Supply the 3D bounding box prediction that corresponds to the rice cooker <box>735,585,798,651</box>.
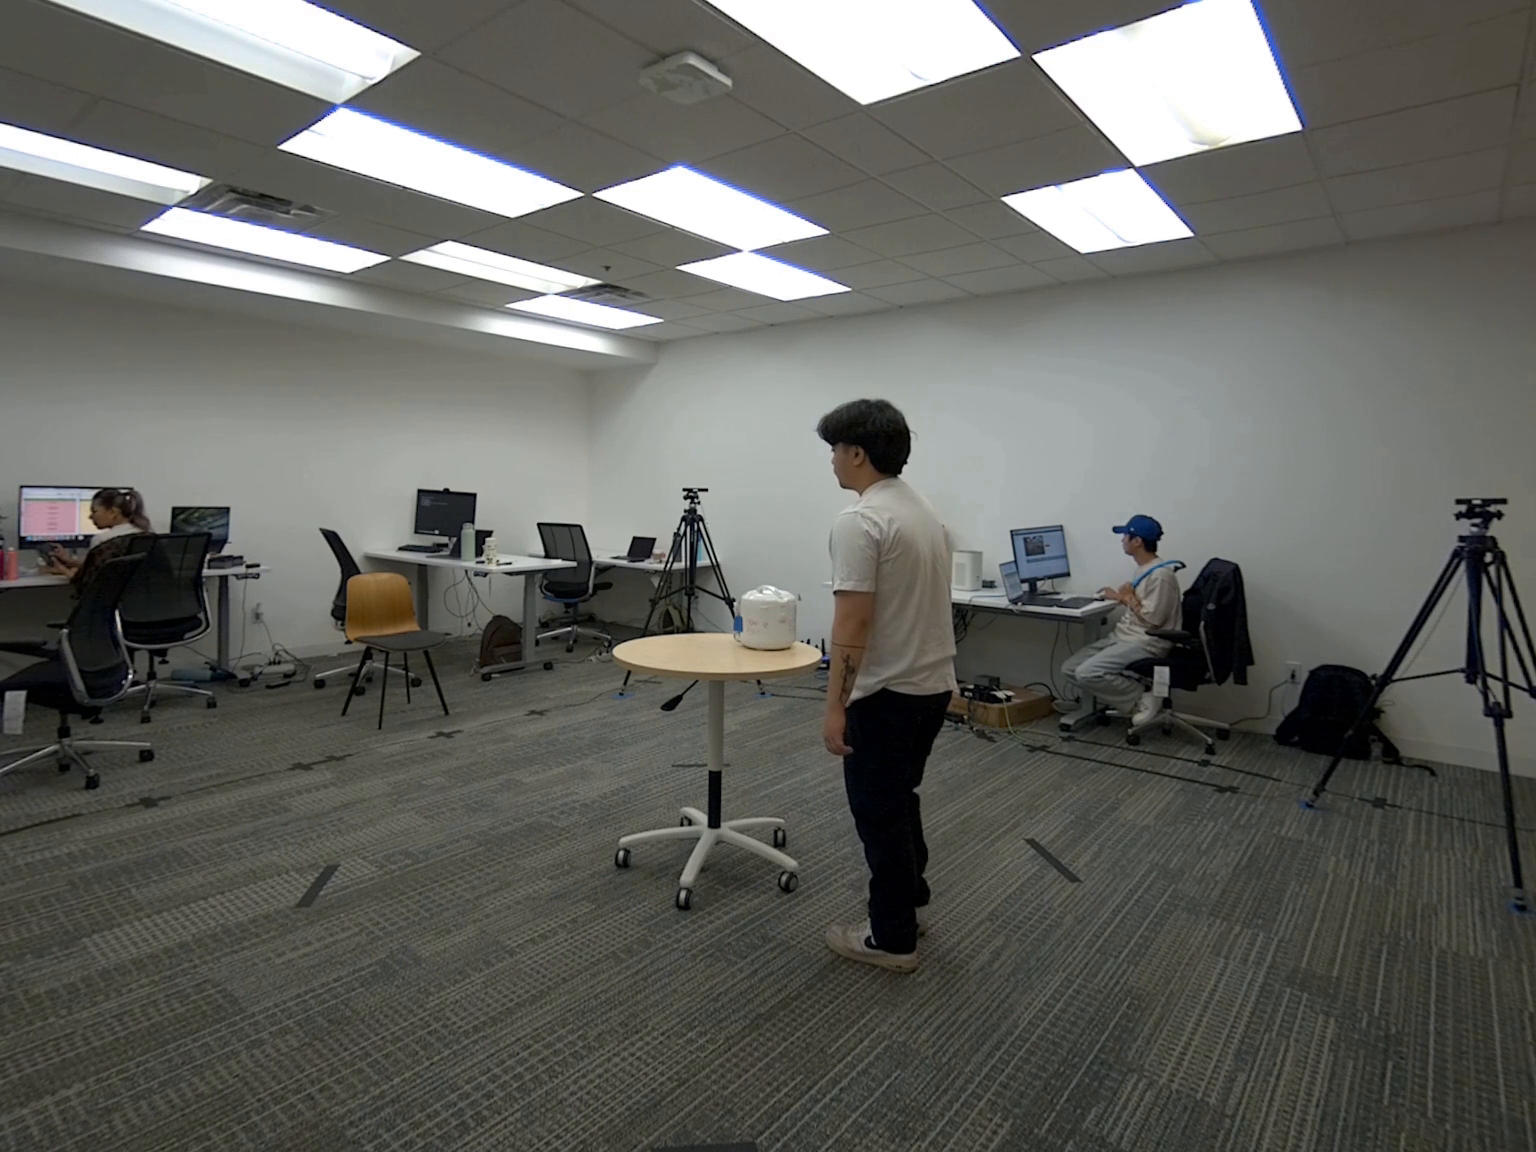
[{"bbox_3d":[-0.009,0.148,3.220,0.212,0.232,0.227,-2,5,-27],"label":"rice cooker"}]
